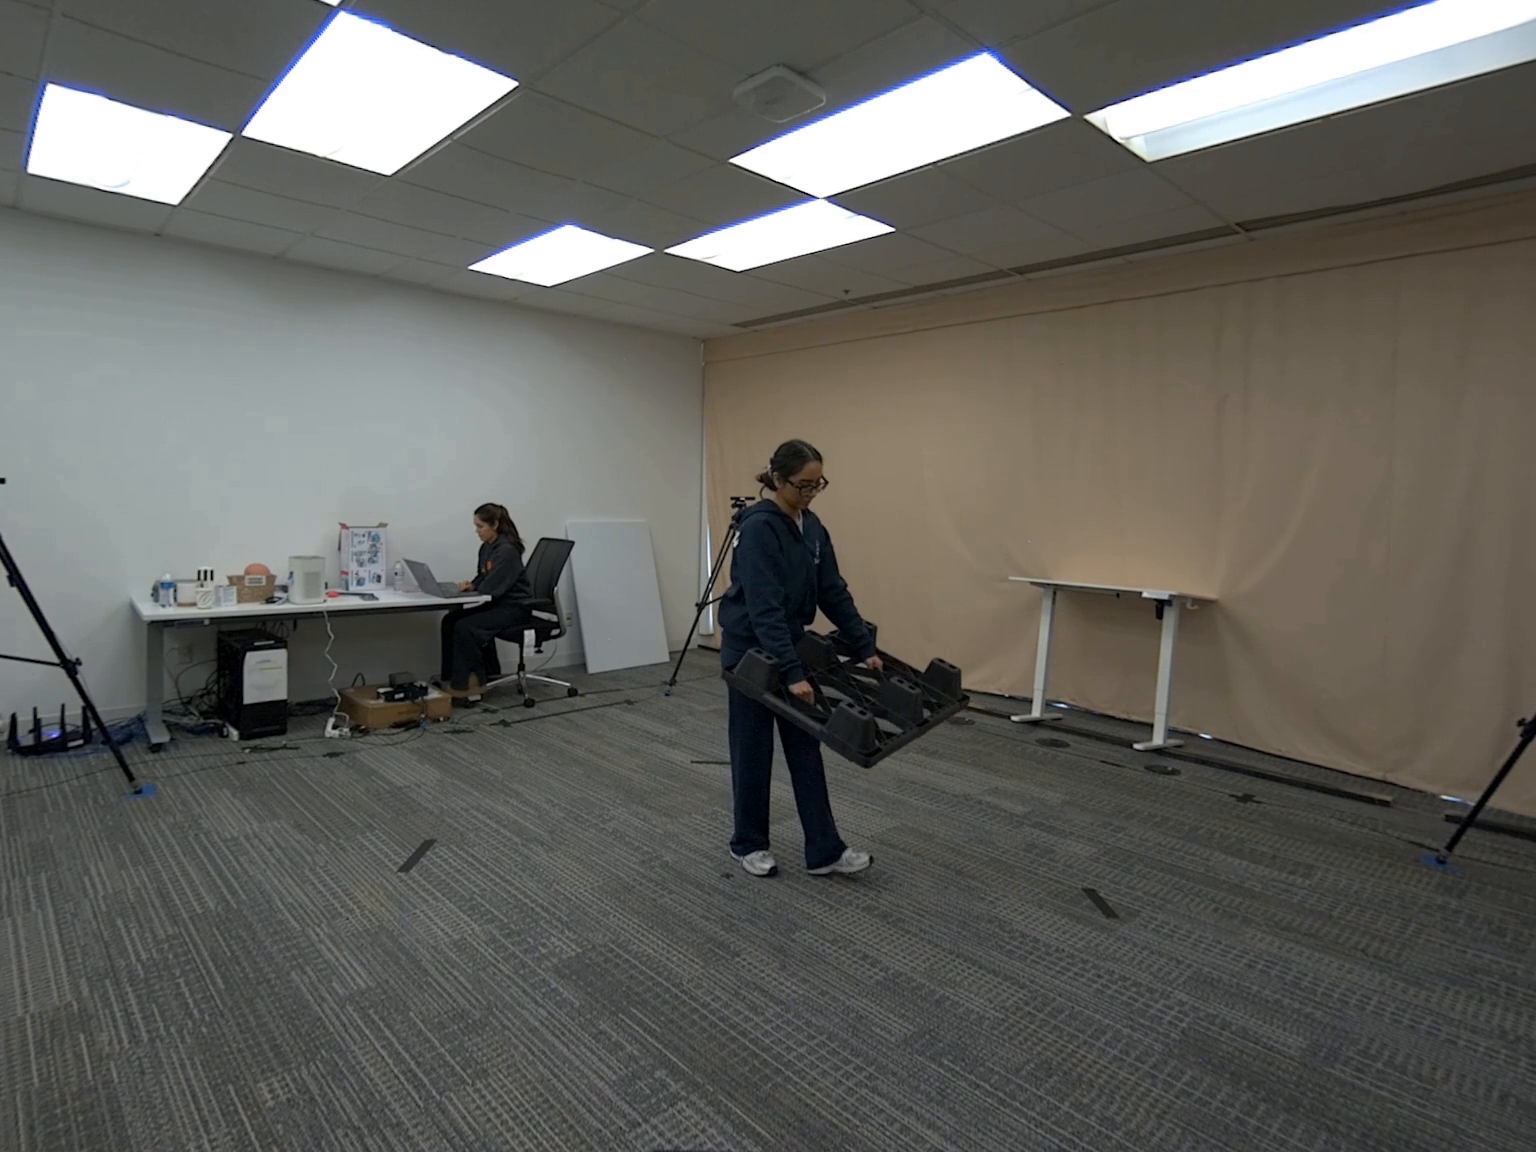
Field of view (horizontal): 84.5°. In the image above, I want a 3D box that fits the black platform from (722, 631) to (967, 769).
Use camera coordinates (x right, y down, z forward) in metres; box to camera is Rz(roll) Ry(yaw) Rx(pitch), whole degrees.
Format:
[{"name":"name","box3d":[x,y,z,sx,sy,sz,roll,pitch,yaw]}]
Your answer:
[{"name":"black platform","box3d":[0.307,0.359,2.981,0.622,0.142,0.790,28,21,29]}]
